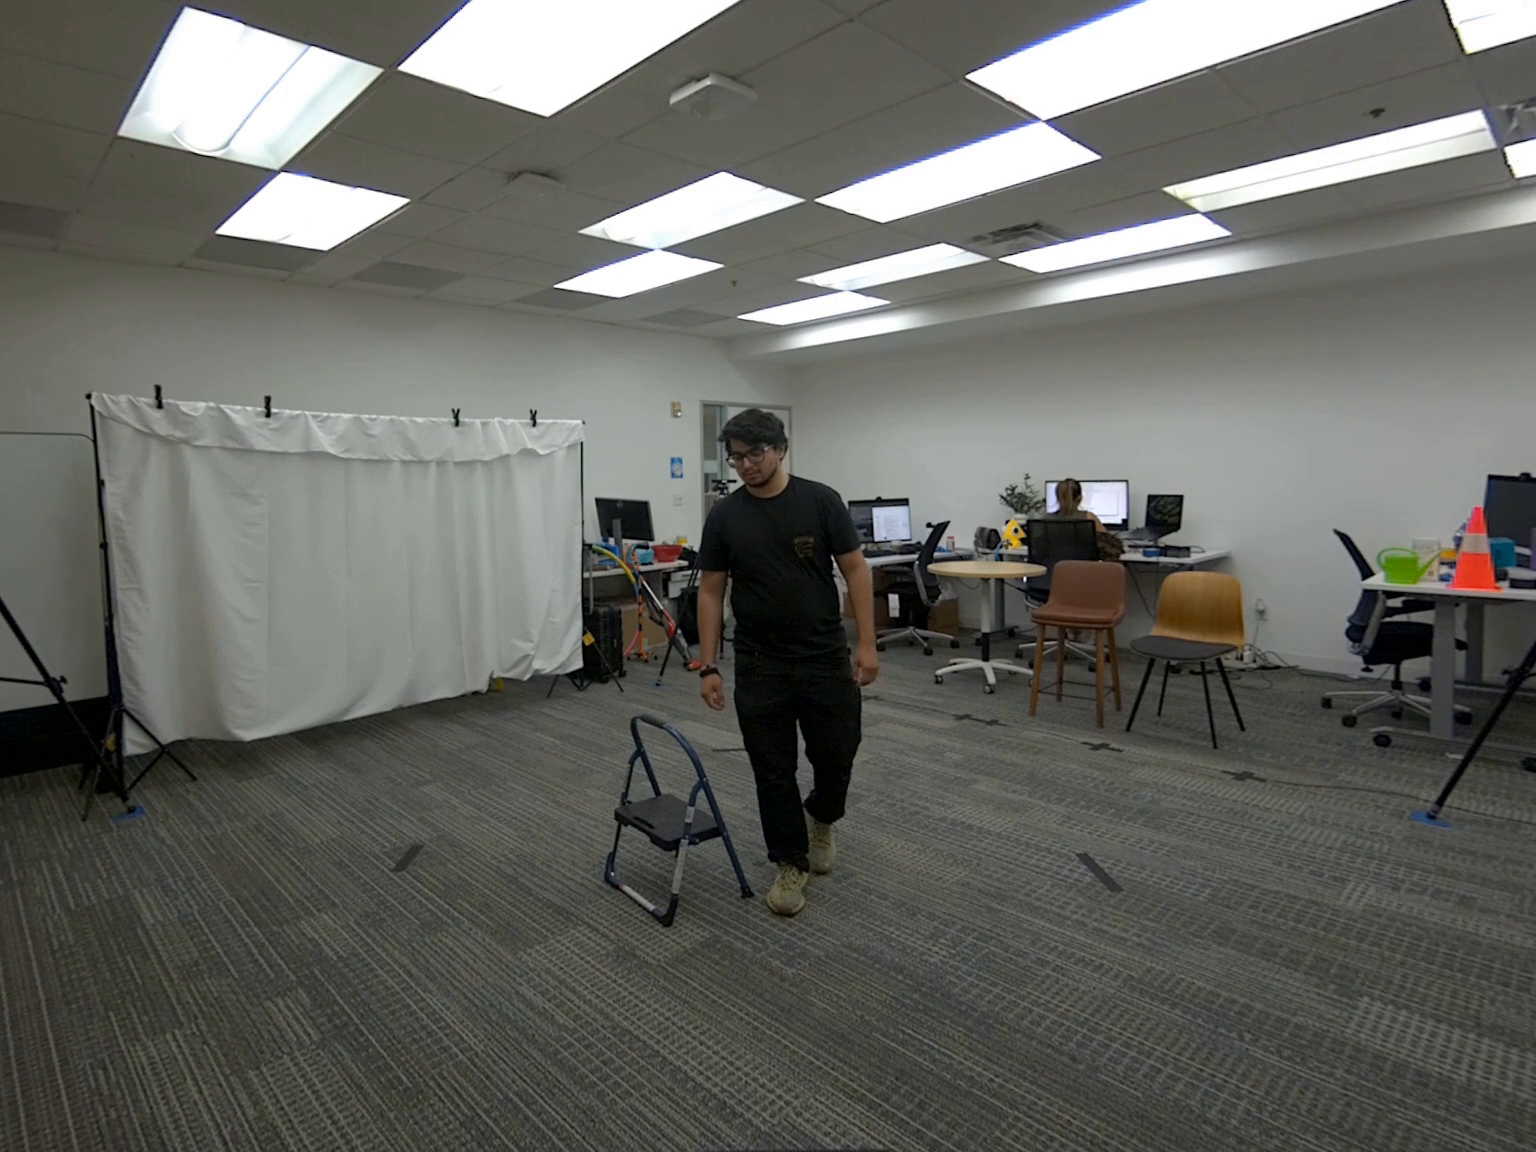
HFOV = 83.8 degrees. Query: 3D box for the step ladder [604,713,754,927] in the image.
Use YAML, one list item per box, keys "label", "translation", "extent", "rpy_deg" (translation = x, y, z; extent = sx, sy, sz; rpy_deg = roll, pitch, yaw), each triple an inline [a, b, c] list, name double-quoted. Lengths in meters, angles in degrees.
- label: "step ladder"
  translation: [-0.317, 0.769, 2.920]
  extent: [0.340, 0.604, 0.443]
  rpy_deg: [-5, 5, -39]
